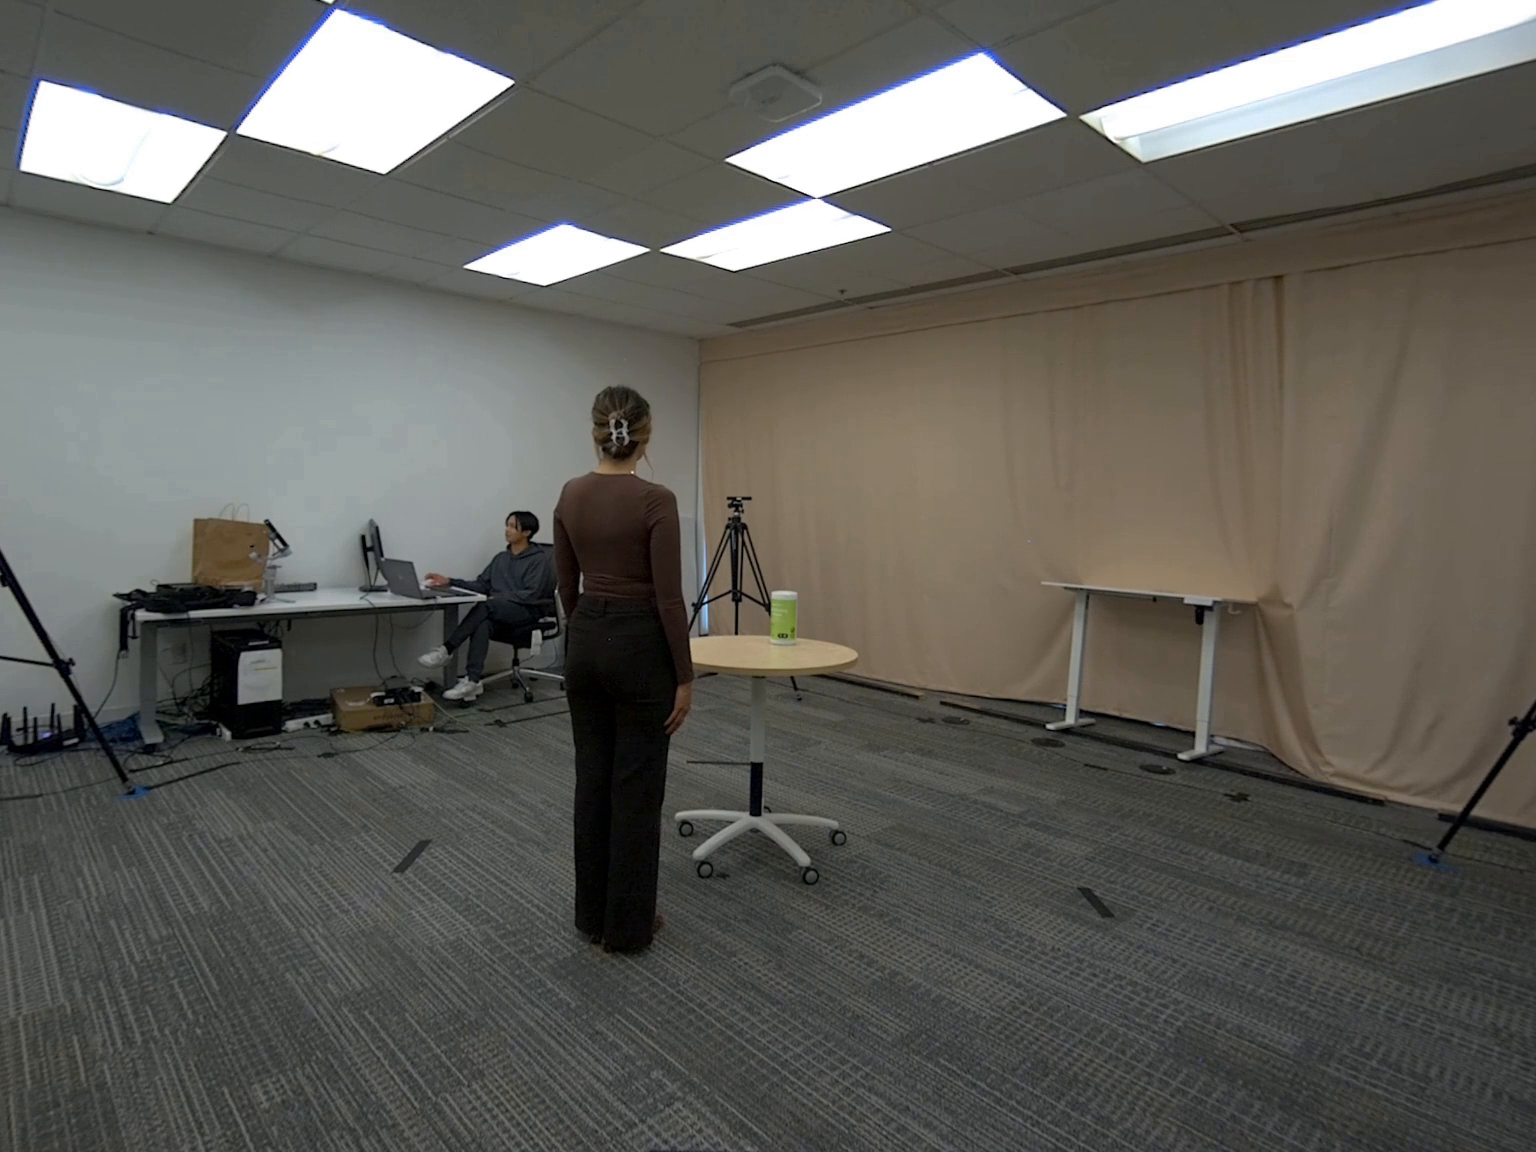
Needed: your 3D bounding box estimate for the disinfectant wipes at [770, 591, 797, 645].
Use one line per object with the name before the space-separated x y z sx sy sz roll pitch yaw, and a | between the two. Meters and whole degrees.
disinfectant wipes | 0.060 0.172 3.496 0.118 0.217 0.118 2 3 -2
